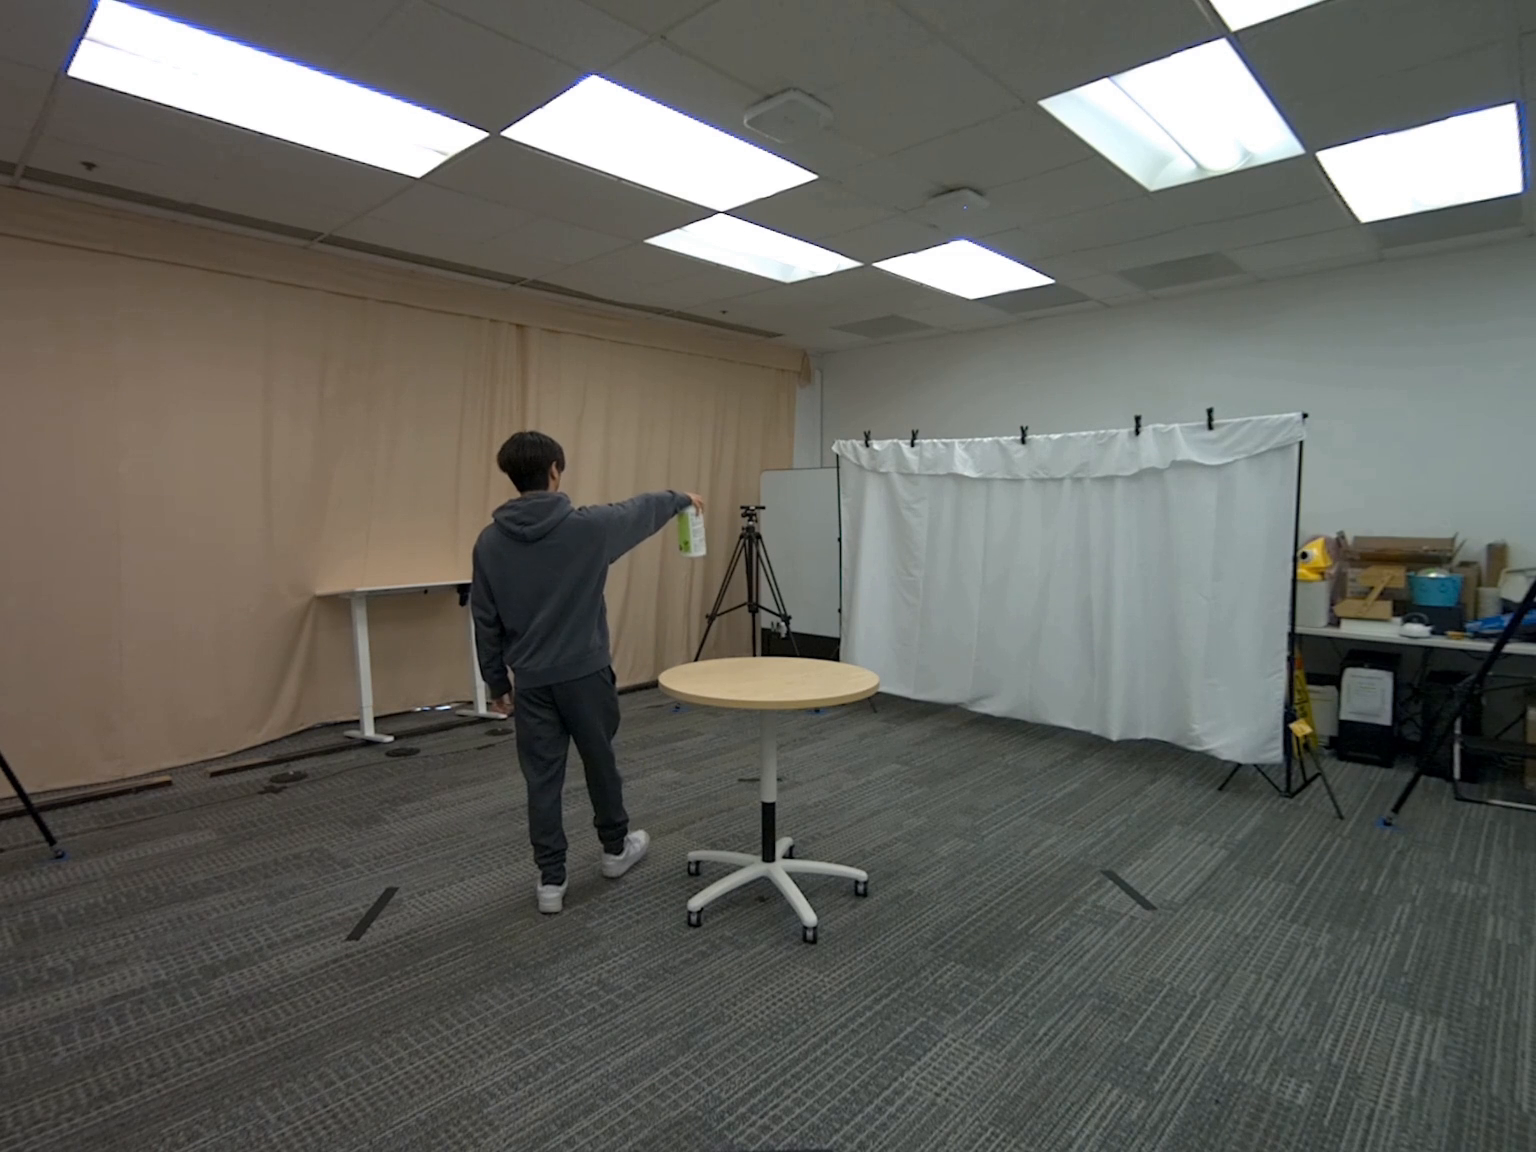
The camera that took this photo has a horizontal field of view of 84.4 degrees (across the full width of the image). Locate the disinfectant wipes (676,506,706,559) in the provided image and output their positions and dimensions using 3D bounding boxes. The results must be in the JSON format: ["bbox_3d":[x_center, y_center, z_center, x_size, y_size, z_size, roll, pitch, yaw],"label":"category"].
[{"bbox_3d":[-0.310,-0.190,3.445,0.118,0.216,0.119,-3,12,-1],"label":"disinfectant wipes"}]
